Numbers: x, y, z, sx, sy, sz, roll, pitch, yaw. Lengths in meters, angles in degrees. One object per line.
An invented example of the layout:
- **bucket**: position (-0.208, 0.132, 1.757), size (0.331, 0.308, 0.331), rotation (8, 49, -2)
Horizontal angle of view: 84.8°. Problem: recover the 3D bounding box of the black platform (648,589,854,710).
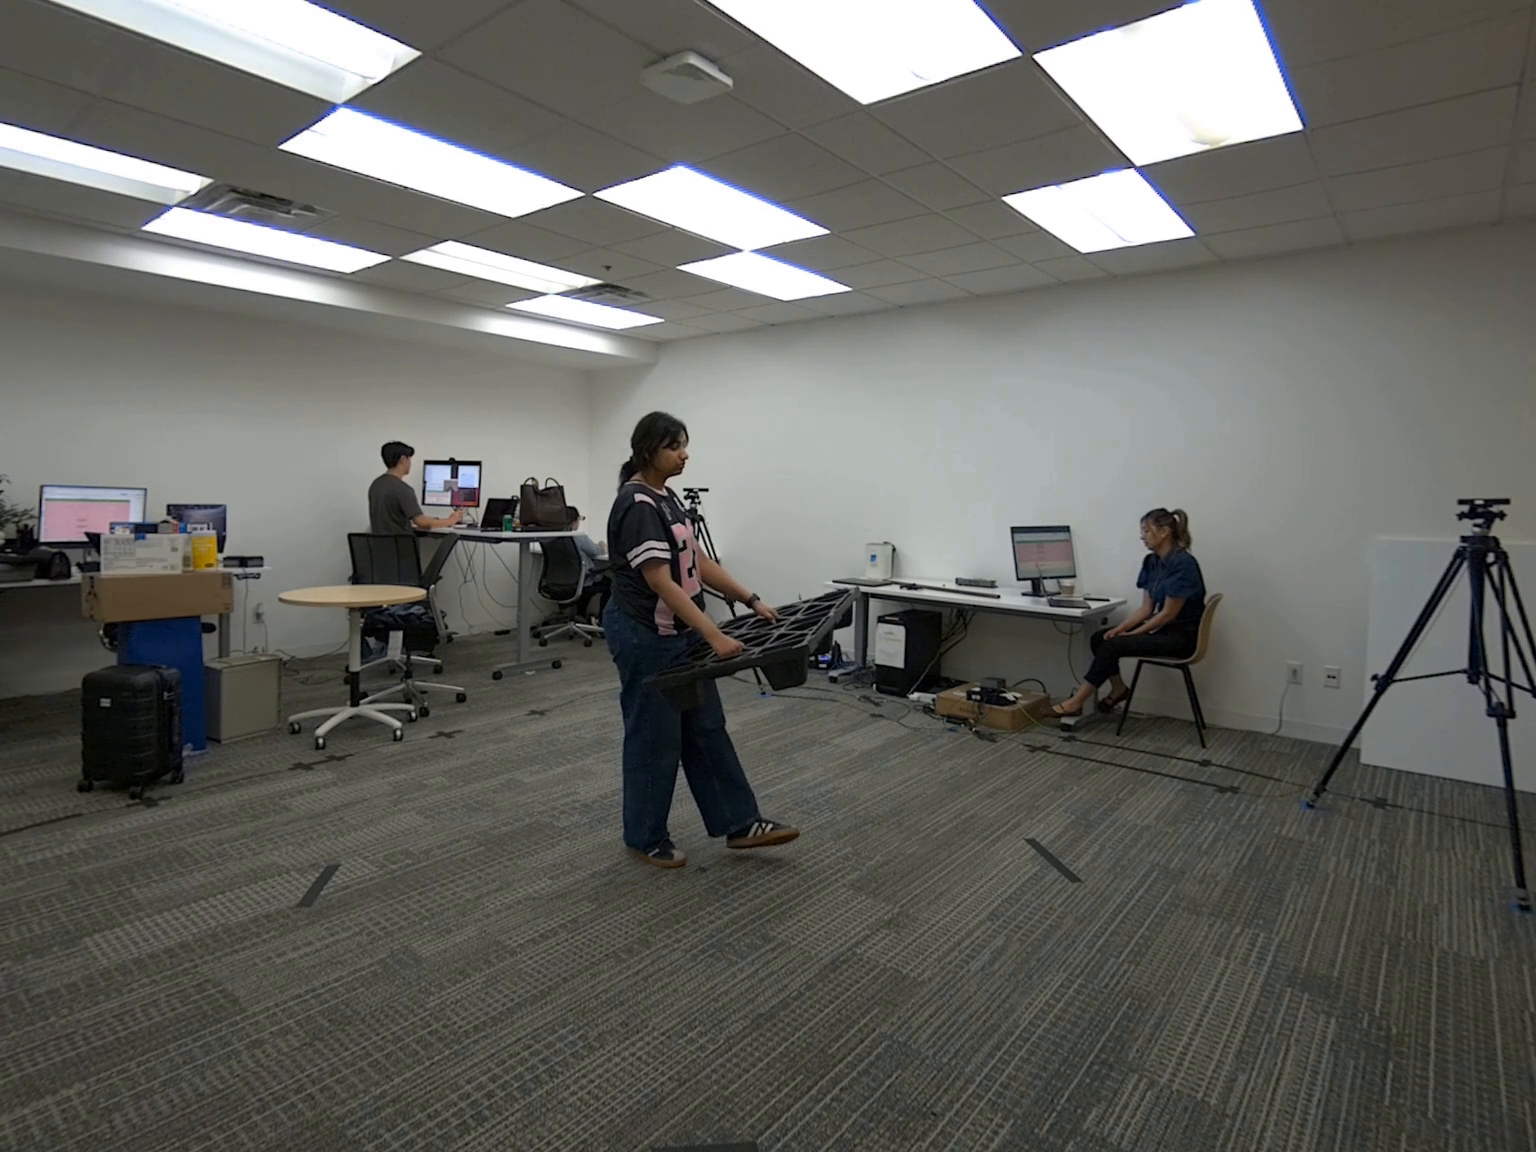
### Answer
- **black platform**: position (-0.016, 0.252, 3.049), size (0.614, 0.142, 0.797), rotation (-16, 7, 21)
